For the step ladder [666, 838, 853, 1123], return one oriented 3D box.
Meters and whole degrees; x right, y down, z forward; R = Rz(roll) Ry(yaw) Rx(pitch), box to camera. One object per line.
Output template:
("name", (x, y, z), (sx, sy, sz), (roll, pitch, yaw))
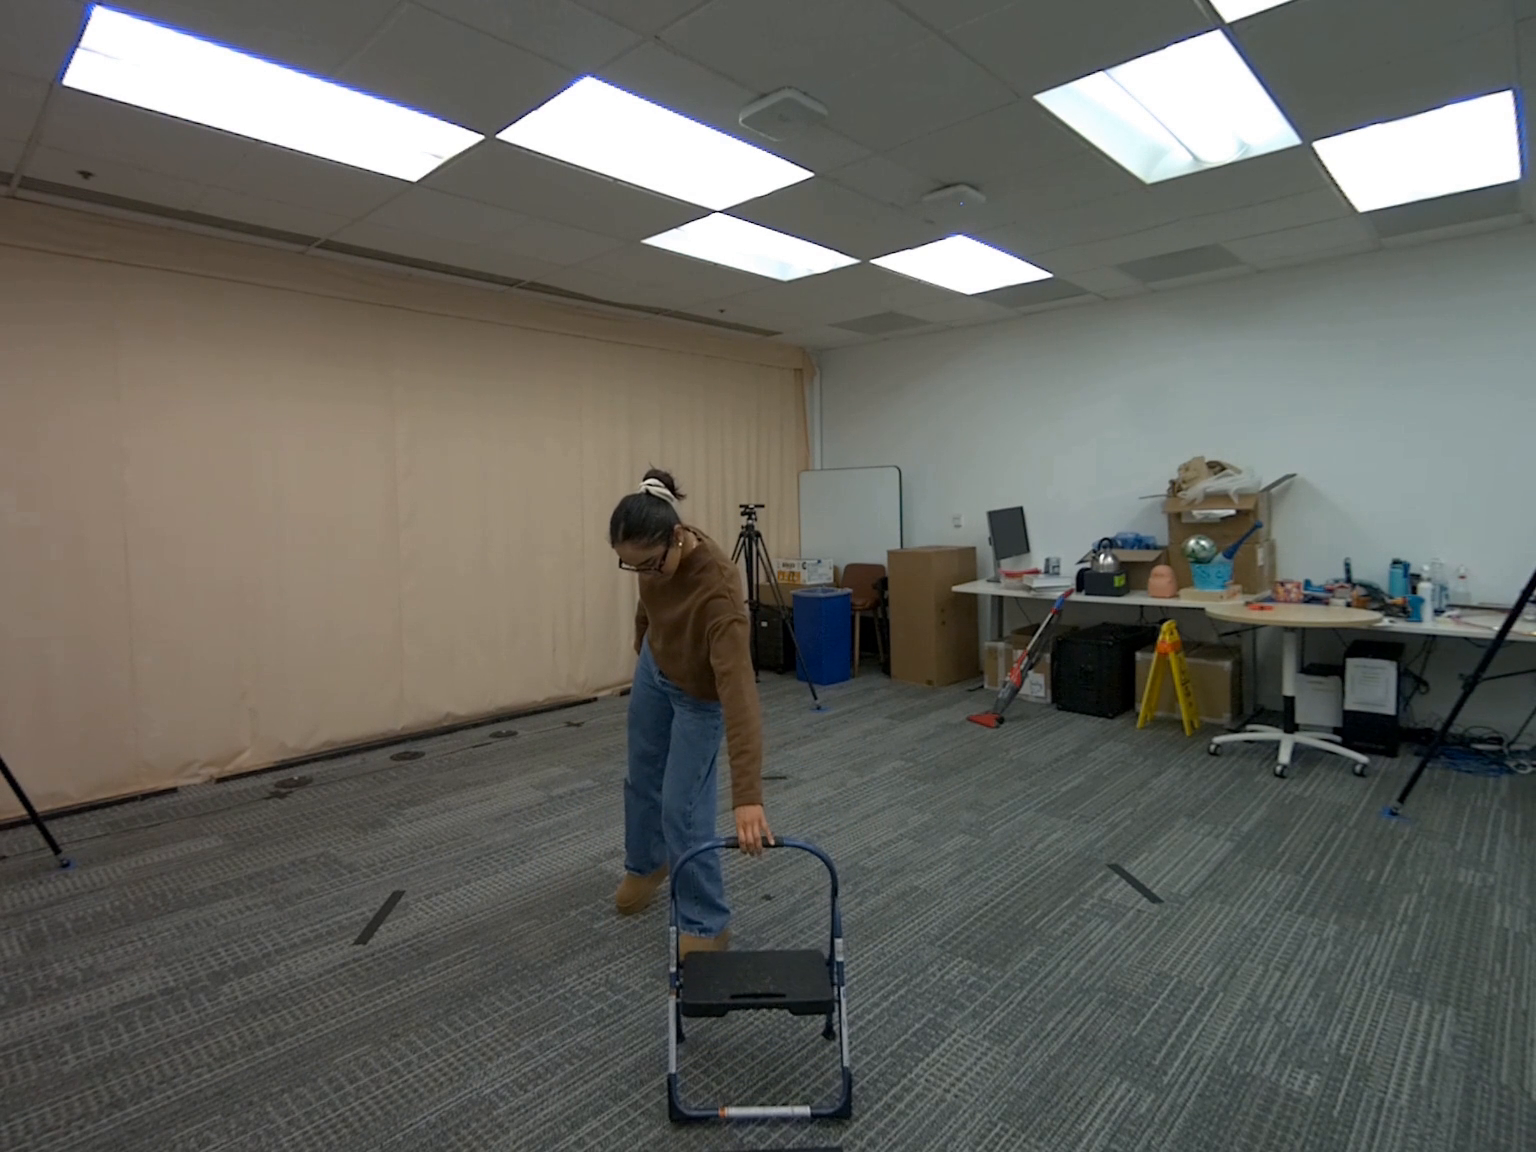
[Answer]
("step ladder", (-0.028, 0.914, 2.043), (0.430, 0.606, 0.350), (-1, 1, -2))
